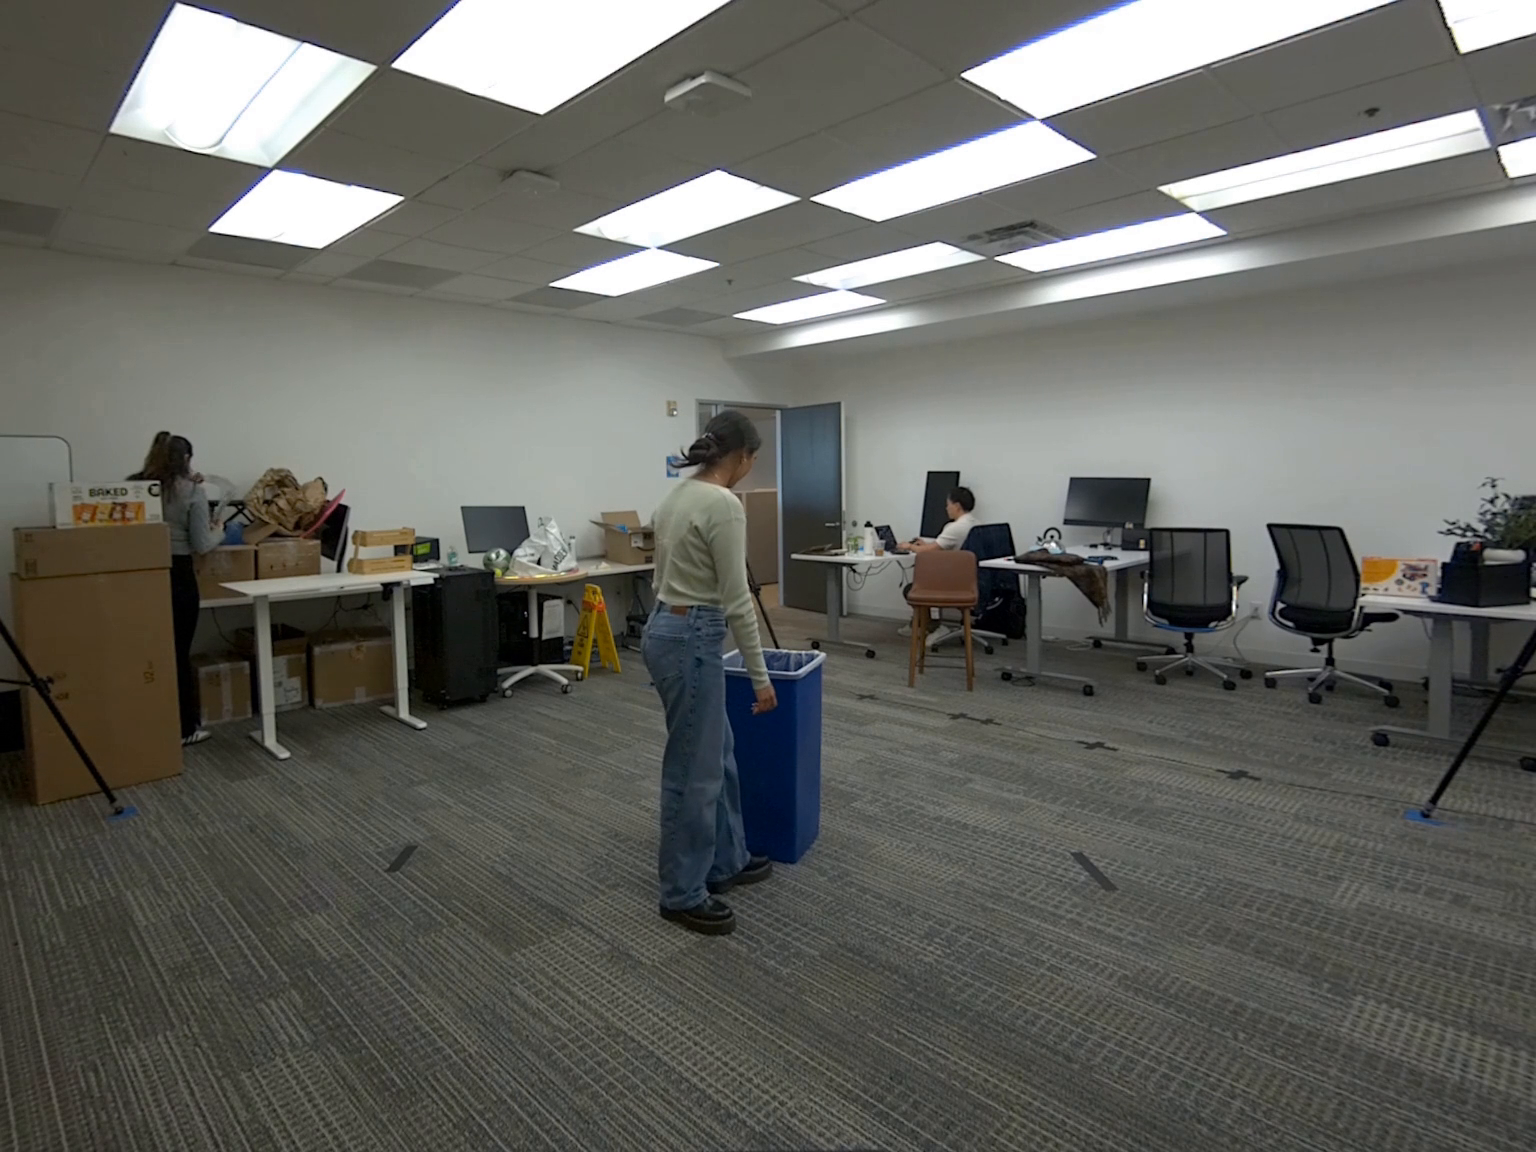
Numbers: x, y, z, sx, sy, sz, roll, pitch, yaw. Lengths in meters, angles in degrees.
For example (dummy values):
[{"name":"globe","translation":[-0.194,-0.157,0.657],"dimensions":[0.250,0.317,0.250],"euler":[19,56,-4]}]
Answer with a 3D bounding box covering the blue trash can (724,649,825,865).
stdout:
[{"name":"blue trash can","translation":[0.008,0.668,3.252],"dimensions":[0.386,0.711,0.368],"euler":[1,4,22]}]
